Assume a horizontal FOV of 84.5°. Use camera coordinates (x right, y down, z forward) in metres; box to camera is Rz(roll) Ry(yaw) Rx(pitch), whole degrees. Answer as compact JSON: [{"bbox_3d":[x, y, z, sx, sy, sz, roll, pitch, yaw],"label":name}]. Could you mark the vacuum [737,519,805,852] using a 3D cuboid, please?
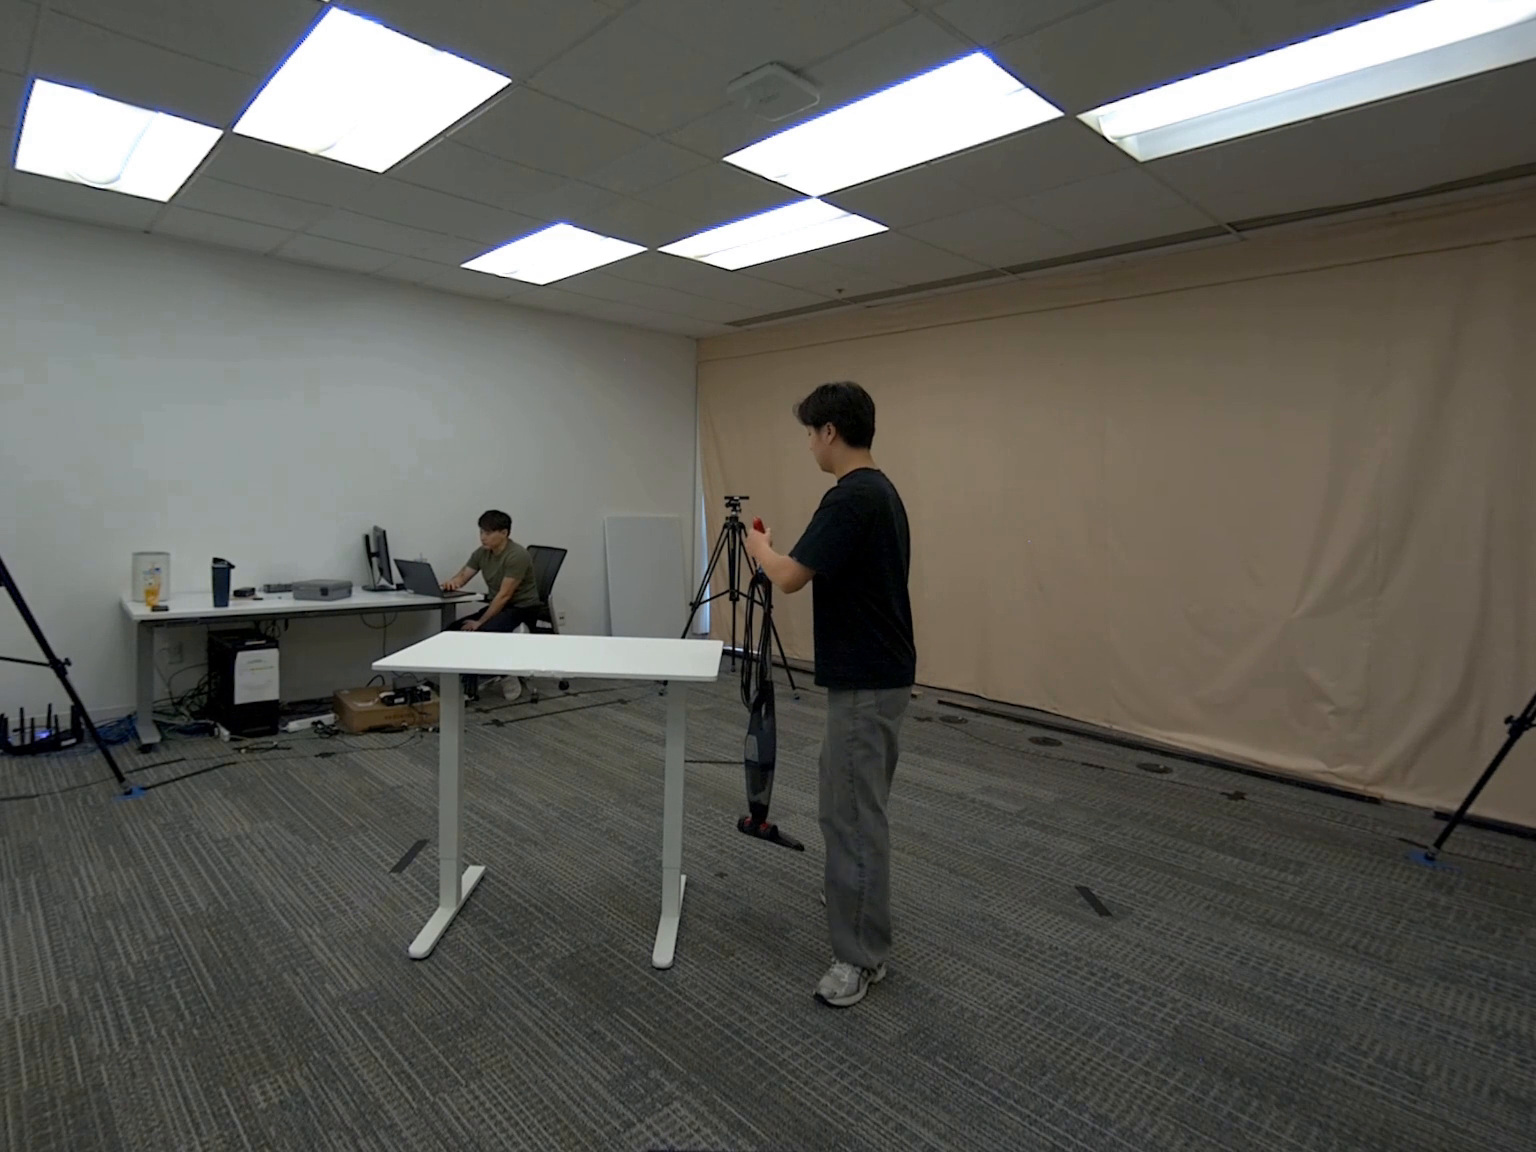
[{"bbox_3d":[-0.026,0.360,2.745,0.259,1.043,0.141,4,9,40],"label":"vacuum"}]
